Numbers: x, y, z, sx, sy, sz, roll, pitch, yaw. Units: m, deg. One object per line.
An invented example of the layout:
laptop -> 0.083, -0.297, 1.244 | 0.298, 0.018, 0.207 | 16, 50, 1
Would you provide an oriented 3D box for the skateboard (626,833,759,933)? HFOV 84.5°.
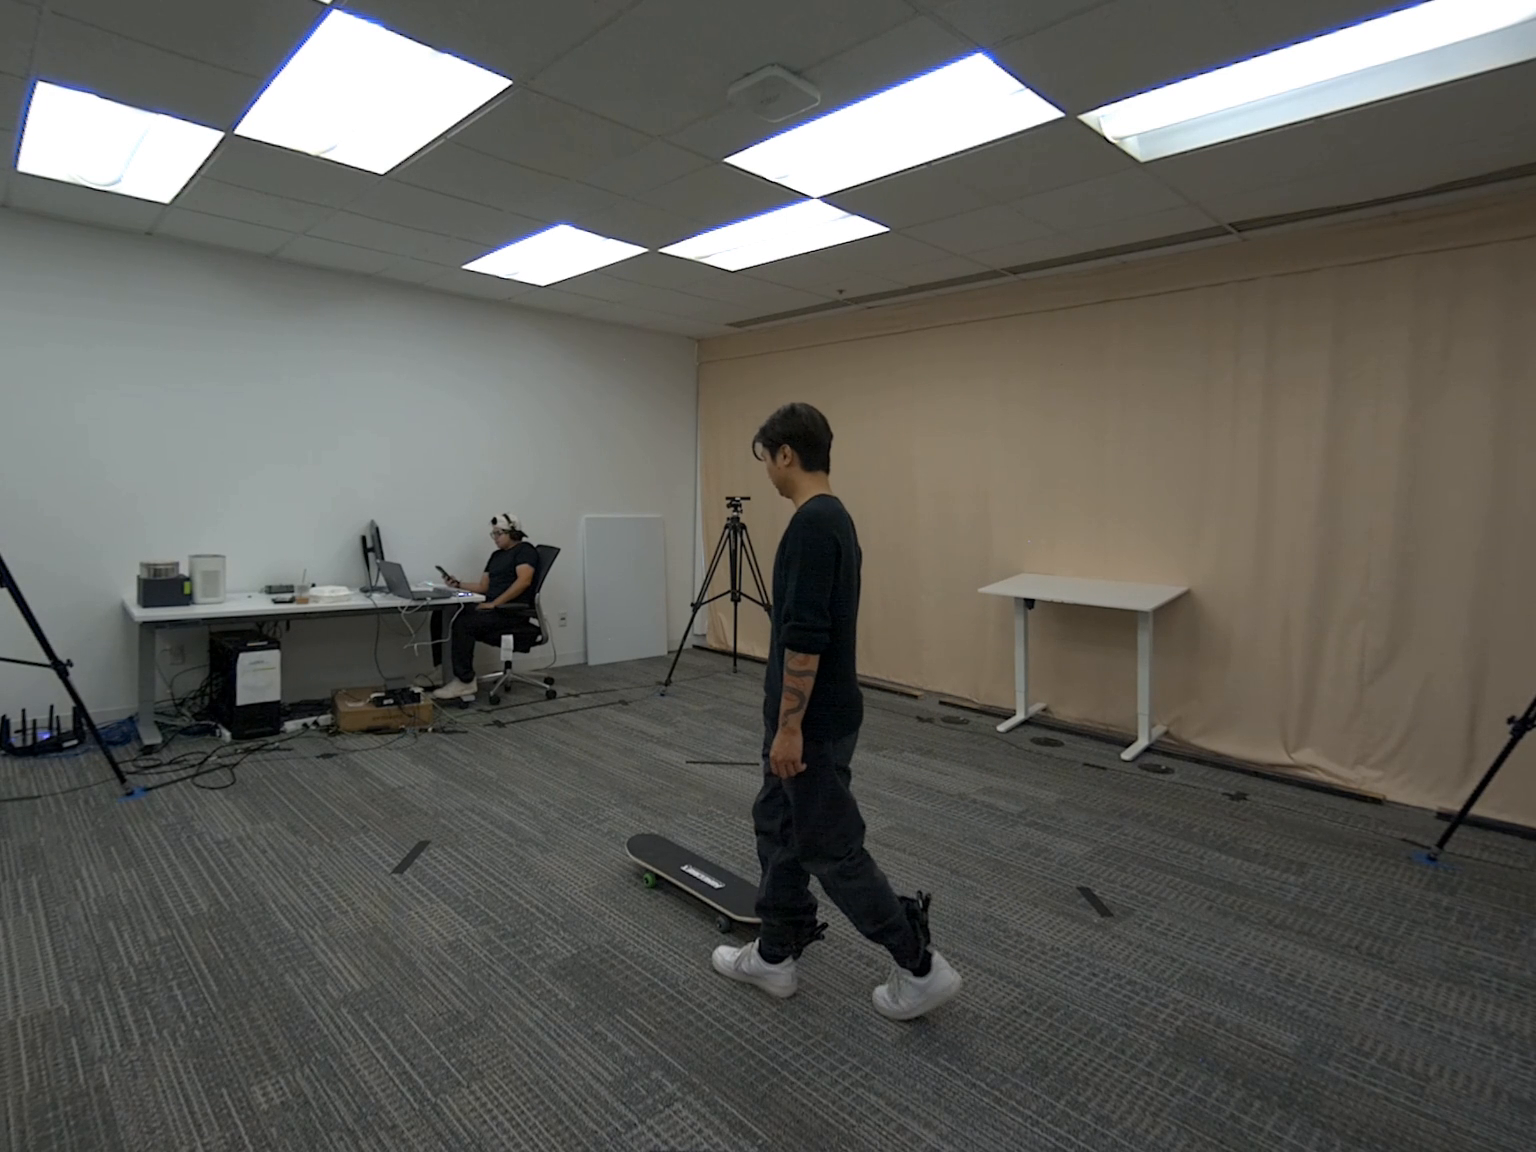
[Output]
skateboard -> -0.235, 1.069, 2.902 | 0.189, 0.110, 0.806 | -2, 6, -43
